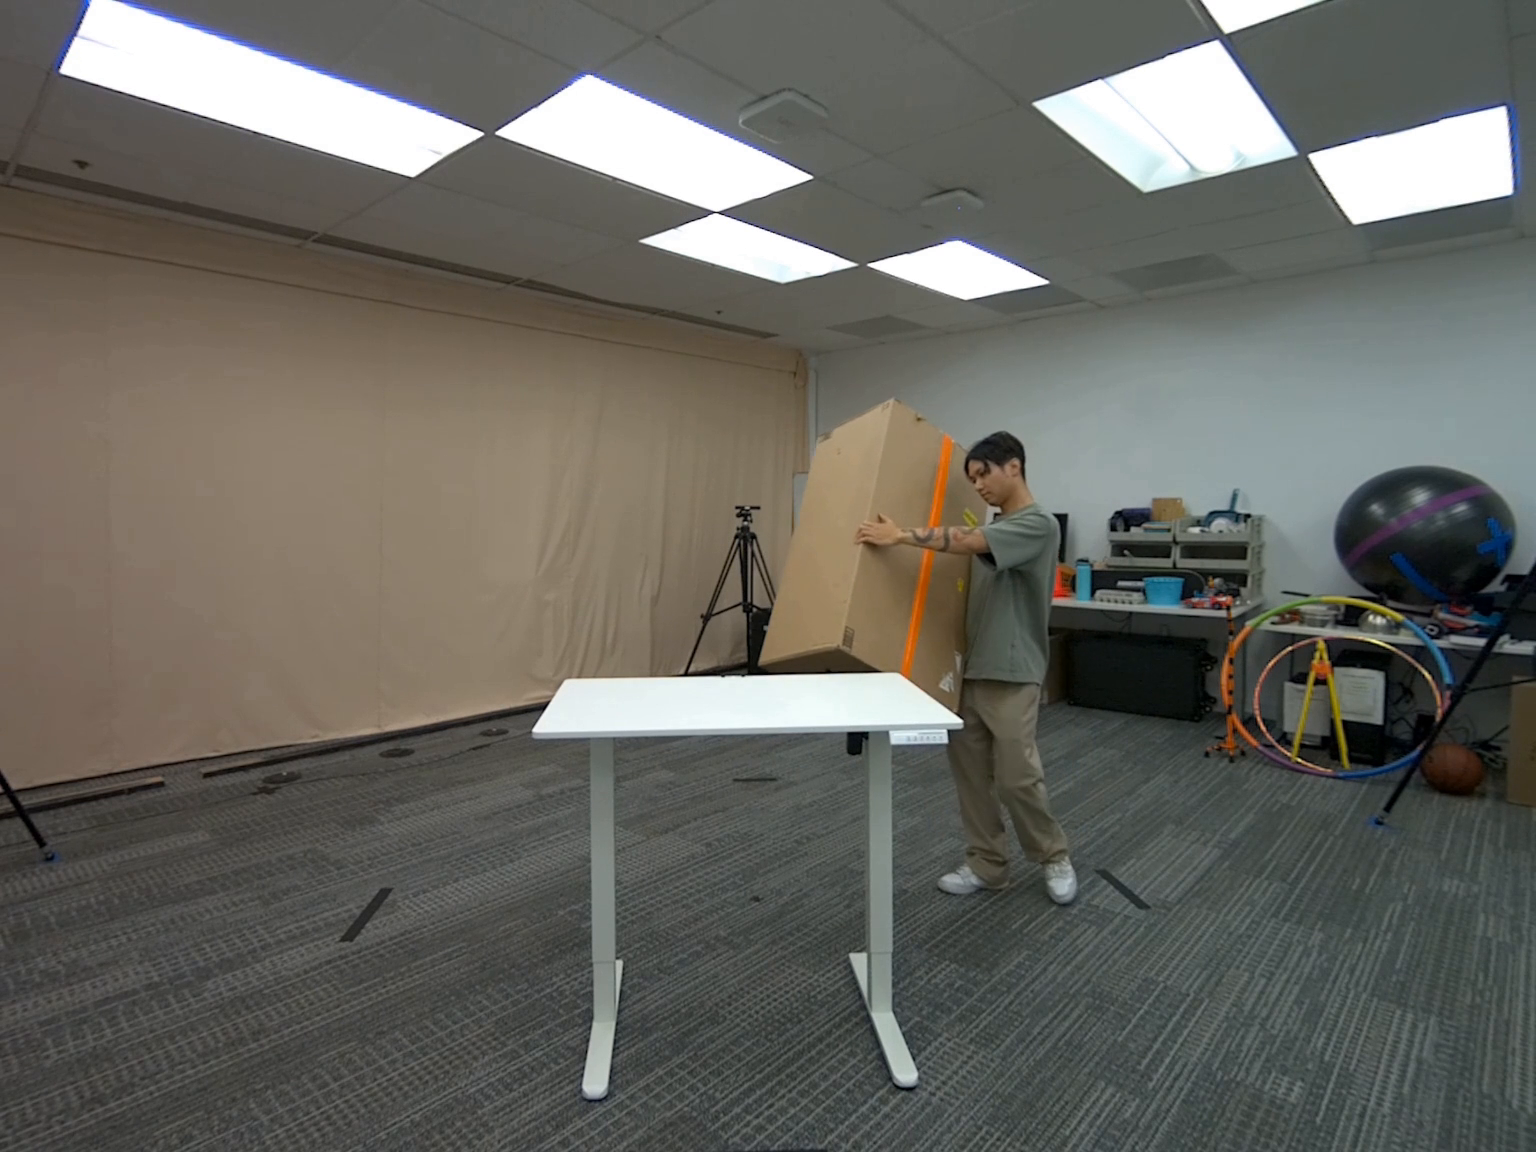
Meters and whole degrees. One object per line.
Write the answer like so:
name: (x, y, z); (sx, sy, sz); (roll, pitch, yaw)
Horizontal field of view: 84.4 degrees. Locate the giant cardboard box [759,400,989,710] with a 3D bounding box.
giant cardboard box: (0.432, -0.039, 3.147); (0.560, 1.033, 0.436); (31, -30, -28)
